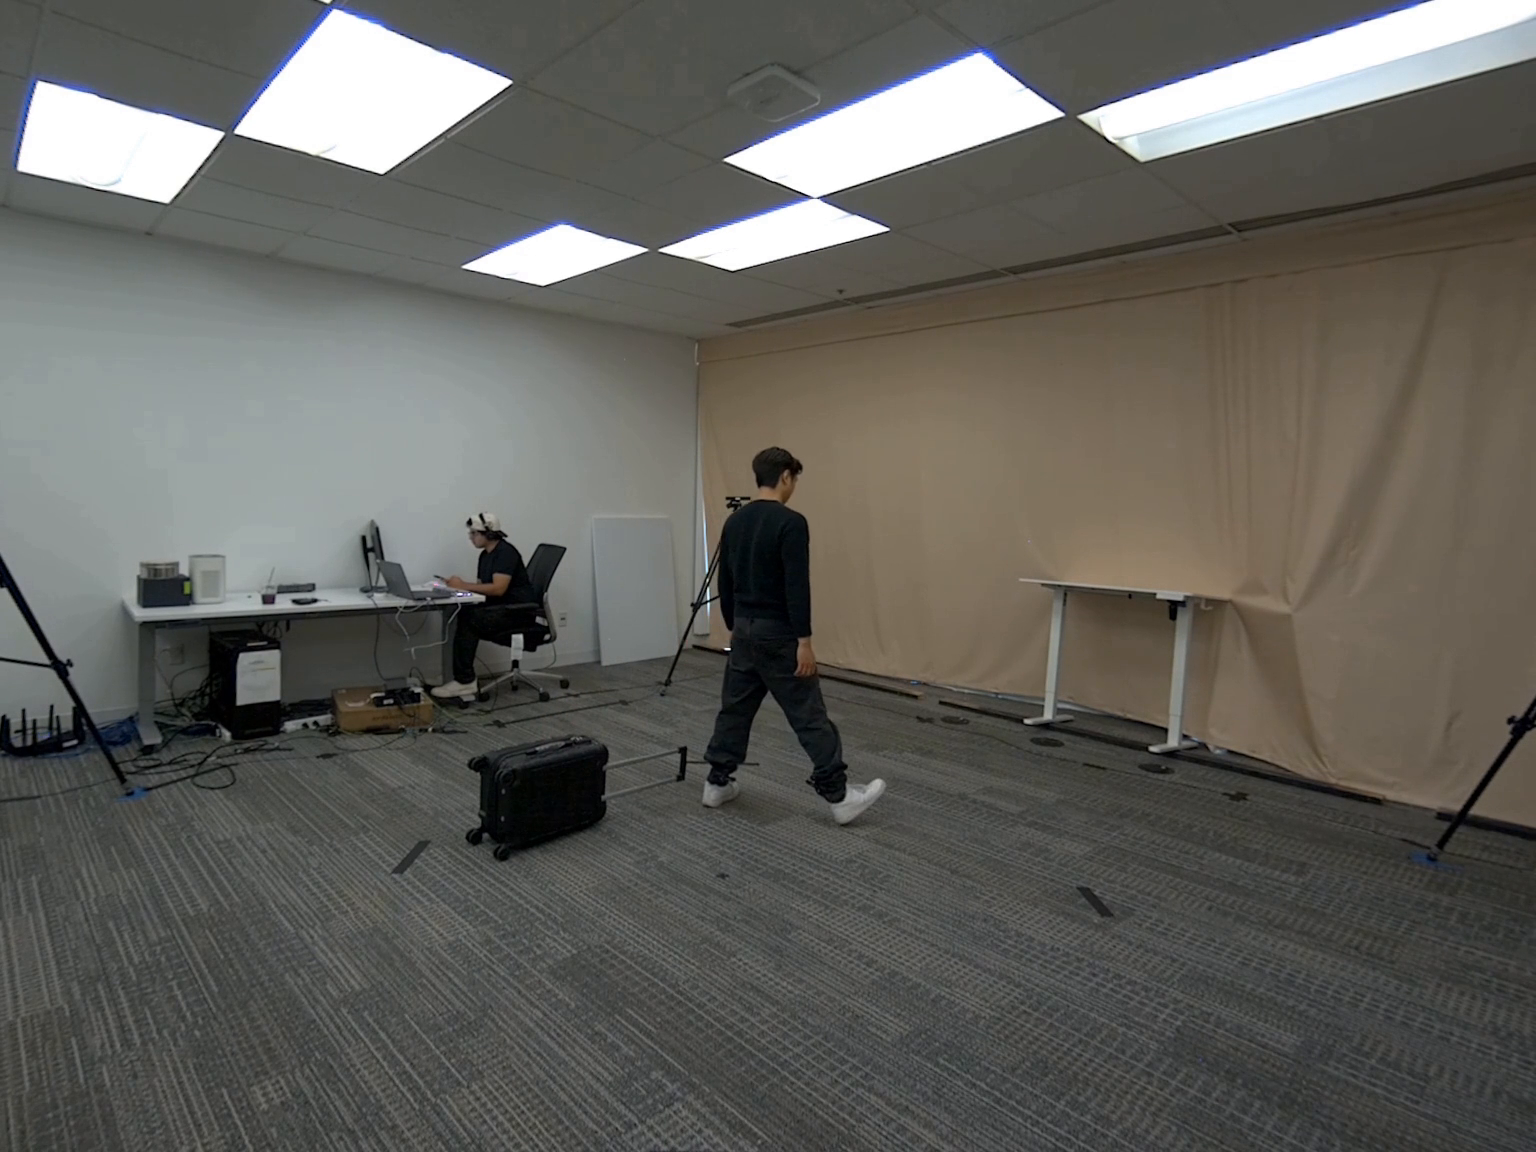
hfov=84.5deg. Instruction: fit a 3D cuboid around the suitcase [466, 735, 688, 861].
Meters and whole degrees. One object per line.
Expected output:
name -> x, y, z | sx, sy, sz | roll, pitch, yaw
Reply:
suitcase -> -0.795, 0.861, 3.591 | 0.263, 0.383, 0.957 | 5, 6, 41
